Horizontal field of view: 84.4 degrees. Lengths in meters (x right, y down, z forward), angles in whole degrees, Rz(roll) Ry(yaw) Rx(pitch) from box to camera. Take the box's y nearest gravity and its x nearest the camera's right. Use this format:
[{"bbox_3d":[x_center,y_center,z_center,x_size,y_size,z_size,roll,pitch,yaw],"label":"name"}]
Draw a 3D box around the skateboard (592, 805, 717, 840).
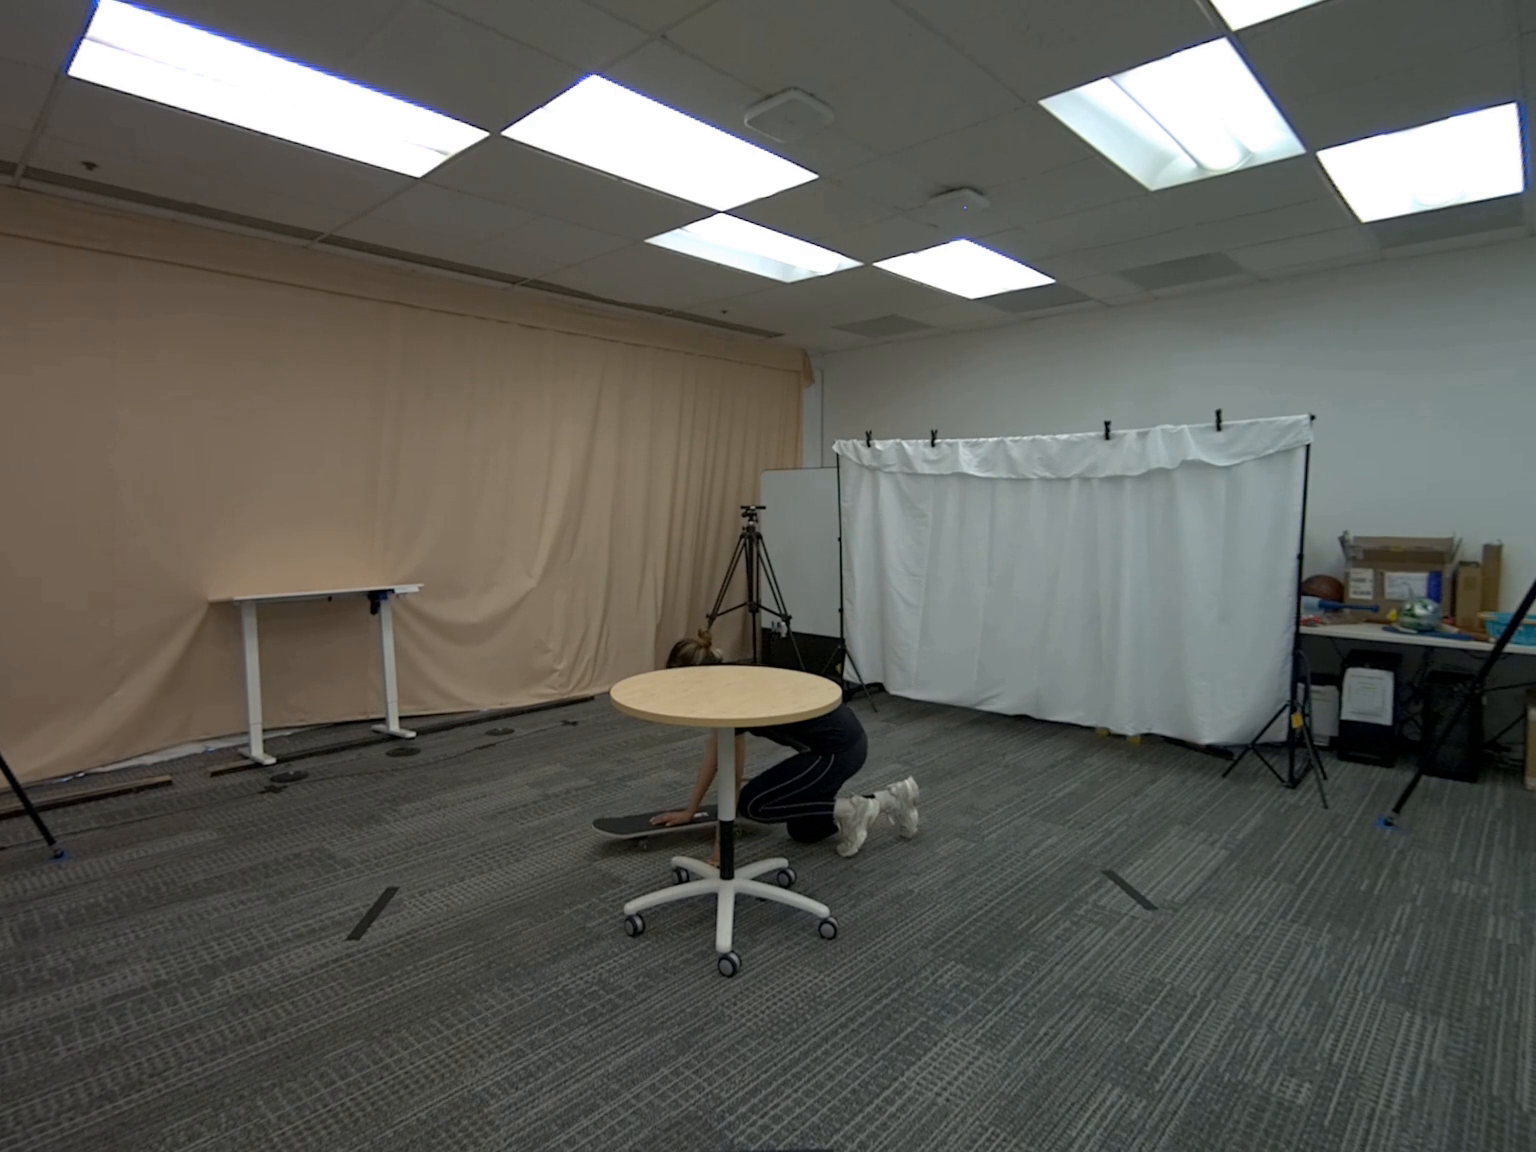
[{"bbox_3d":[-0.354,1.047,3.540,0.770,0.110,0.198,-2,4,-20],"label":"skateboard"}]
